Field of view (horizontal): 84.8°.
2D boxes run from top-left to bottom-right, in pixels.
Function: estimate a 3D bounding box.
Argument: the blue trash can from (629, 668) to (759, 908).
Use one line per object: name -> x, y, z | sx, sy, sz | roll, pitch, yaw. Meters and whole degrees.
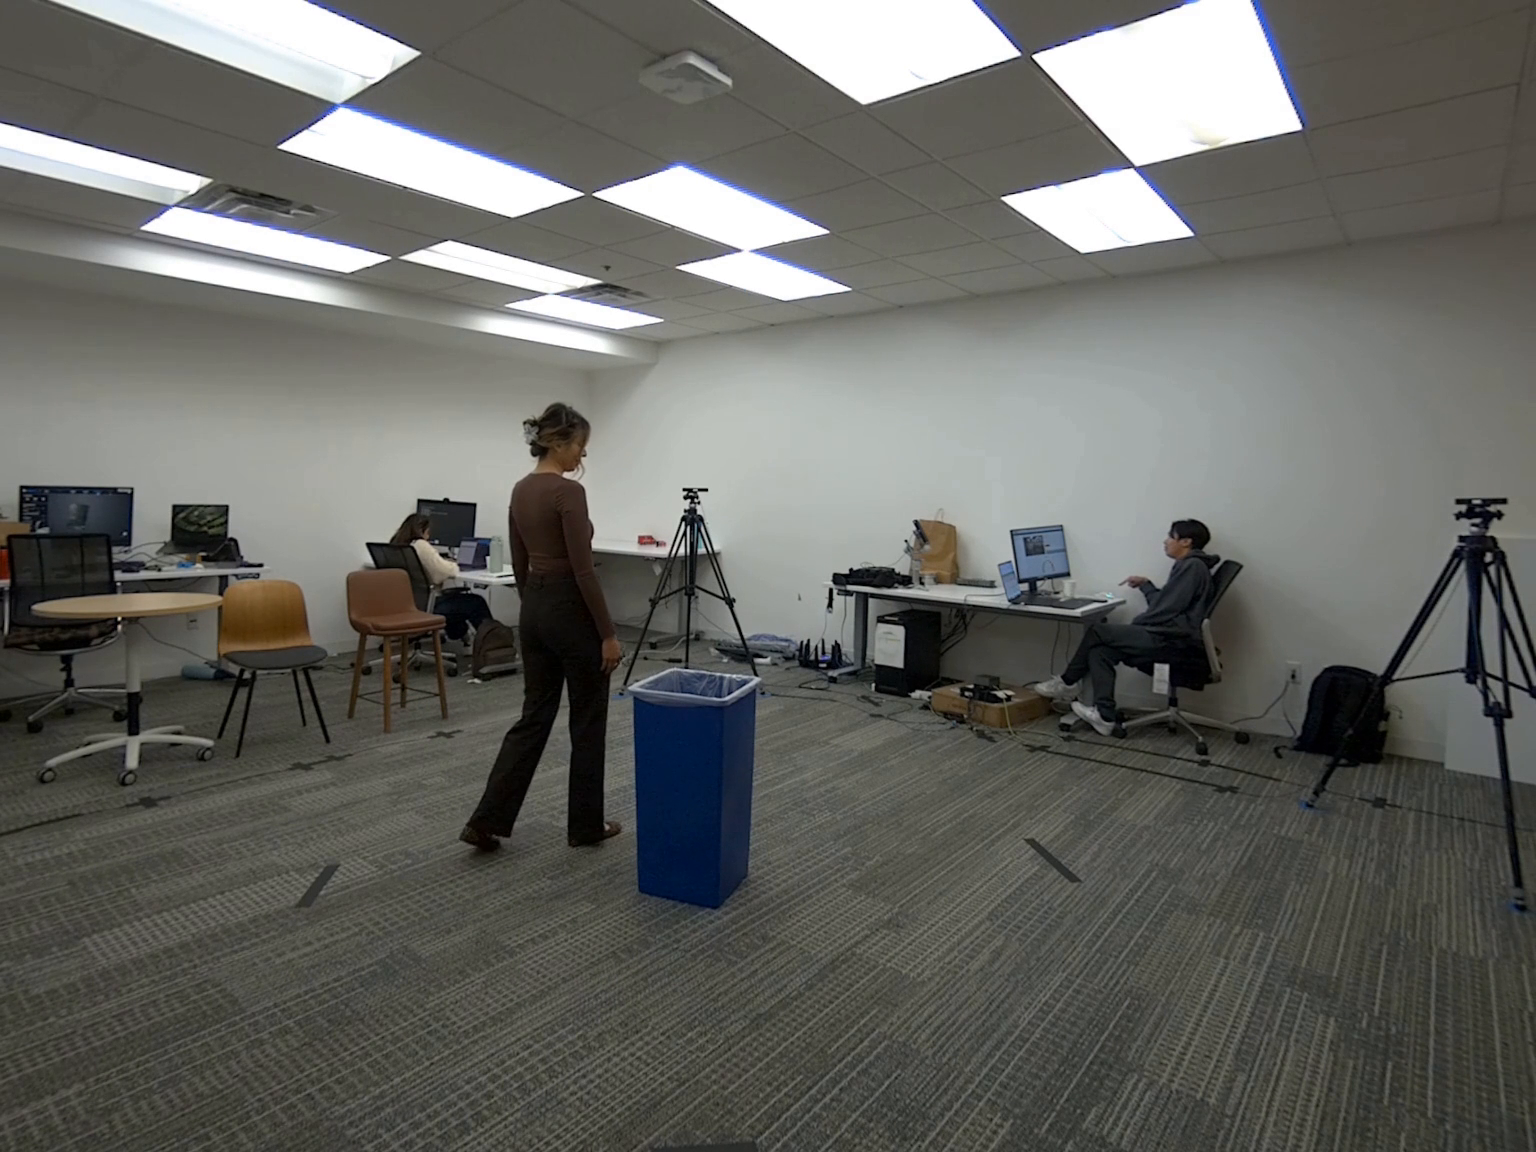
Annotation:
blue trash can -> -0.258, 0.722, 2.984 | 0.382, 0.712, 0.371 | 1, 3, 20
